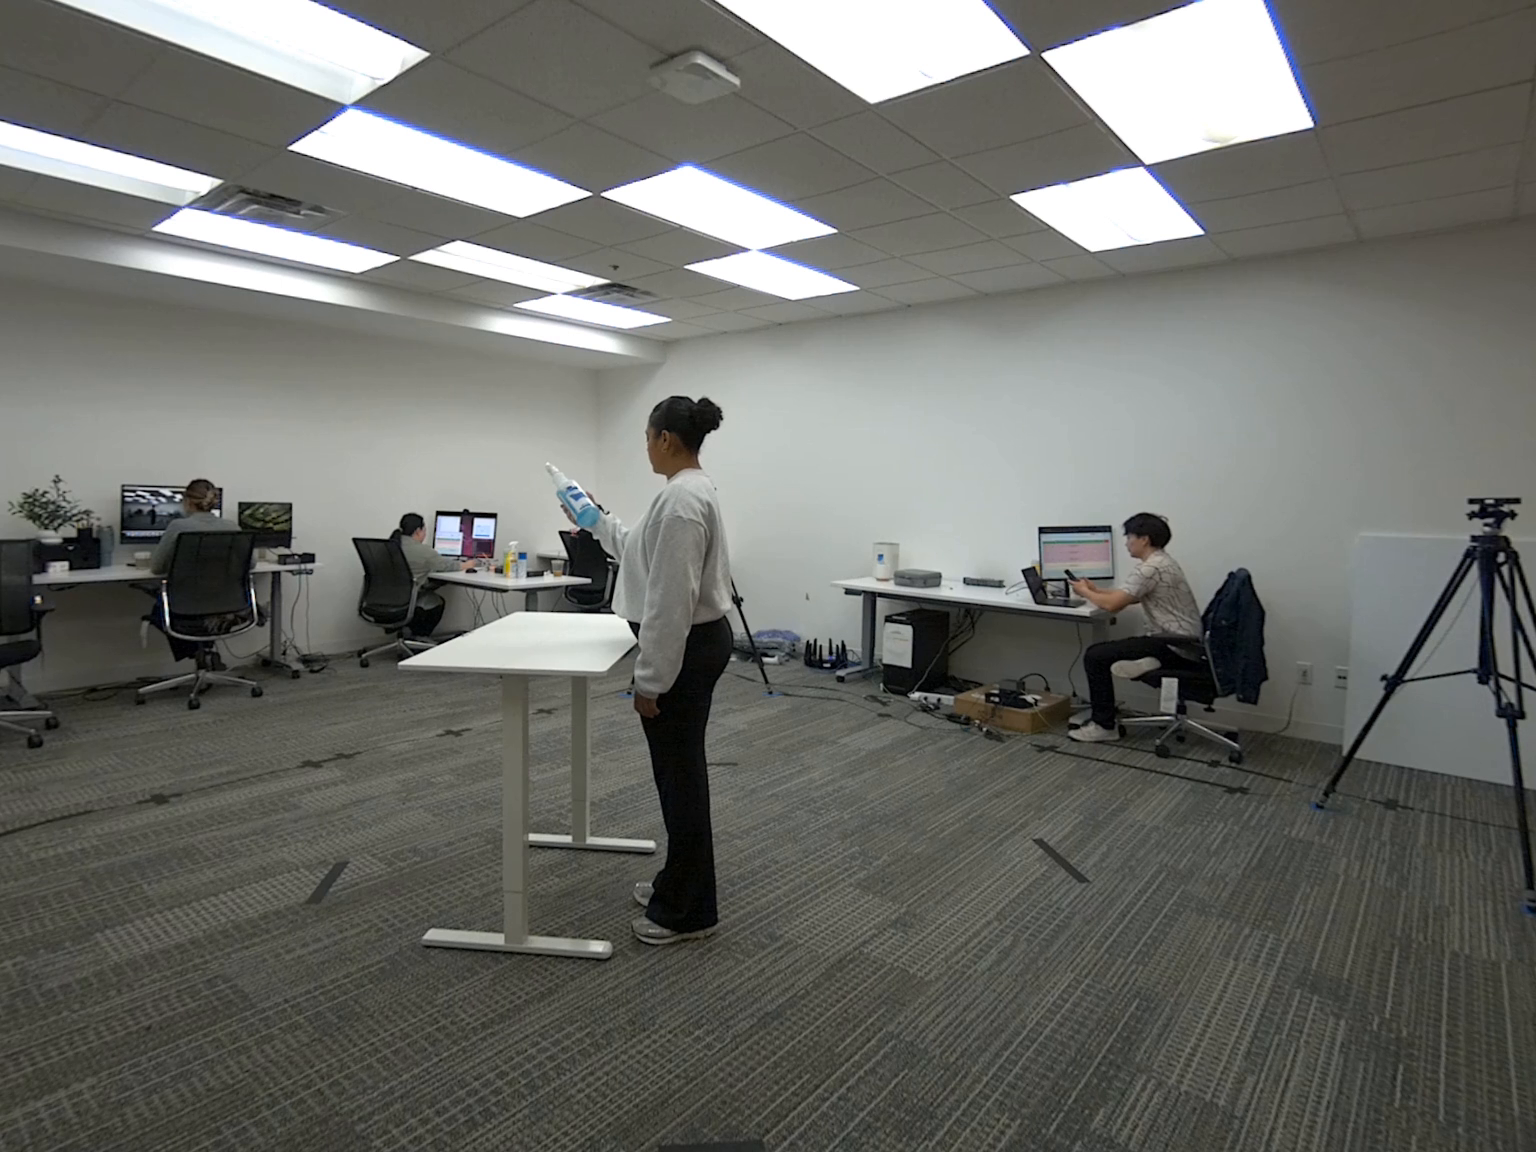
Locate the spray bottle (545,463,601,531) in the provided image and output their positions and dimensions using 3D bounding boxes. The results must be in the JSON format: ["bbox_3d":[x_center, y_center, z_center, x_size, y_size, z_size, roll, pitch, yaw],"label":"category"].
[{"bbox_3d":[-0.712,-0.291,2.984,0.087,0.086,0.308,2,40,-50],"label":"spray bottle"}]
